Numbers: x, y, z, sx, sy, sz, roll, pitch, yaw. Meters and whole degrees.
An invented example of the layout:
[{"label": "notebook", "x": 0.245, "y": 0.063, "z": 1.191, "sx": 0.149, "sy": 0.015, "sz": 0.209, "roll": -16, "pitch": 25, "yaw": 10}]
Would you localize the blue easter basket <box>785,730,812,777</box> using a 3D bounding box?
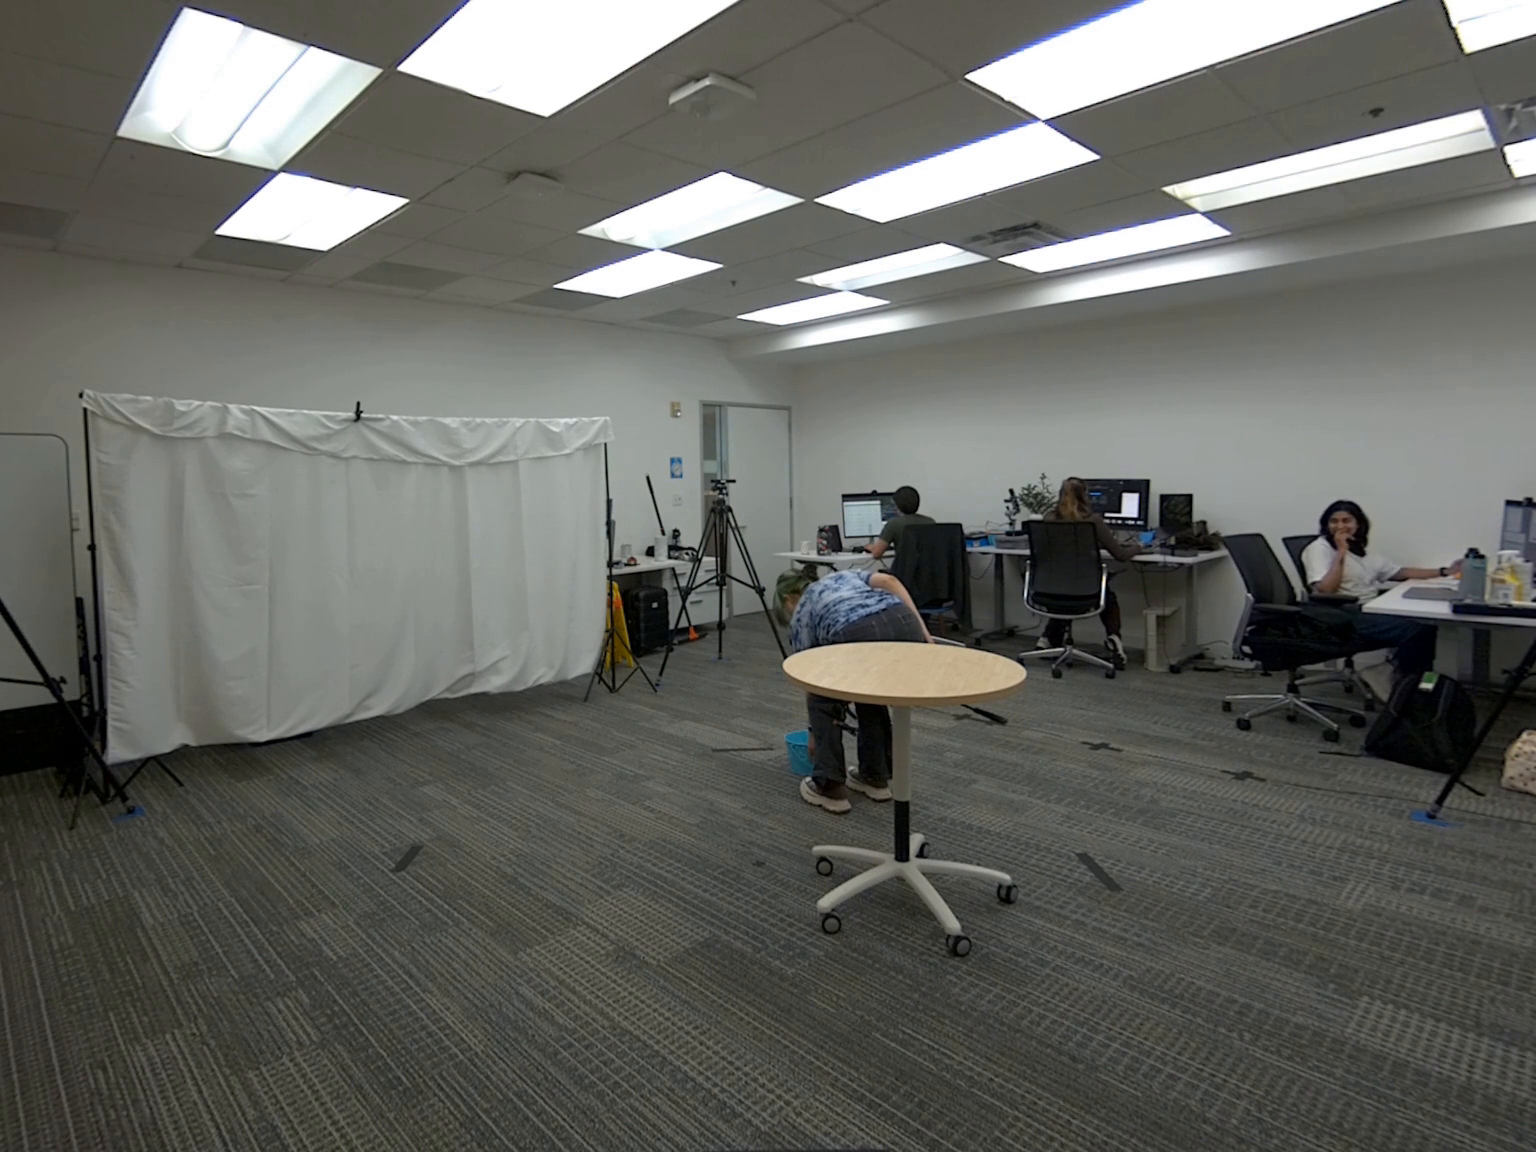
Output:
[{"label": "blue easter basket", "x": 0.196, "y": 0.856, "z": 4.125, "sx": 0.243, "sy": 0.155, "sz": 0.245, "roll": -3, "pitch": 5, "yaw": -1}]
